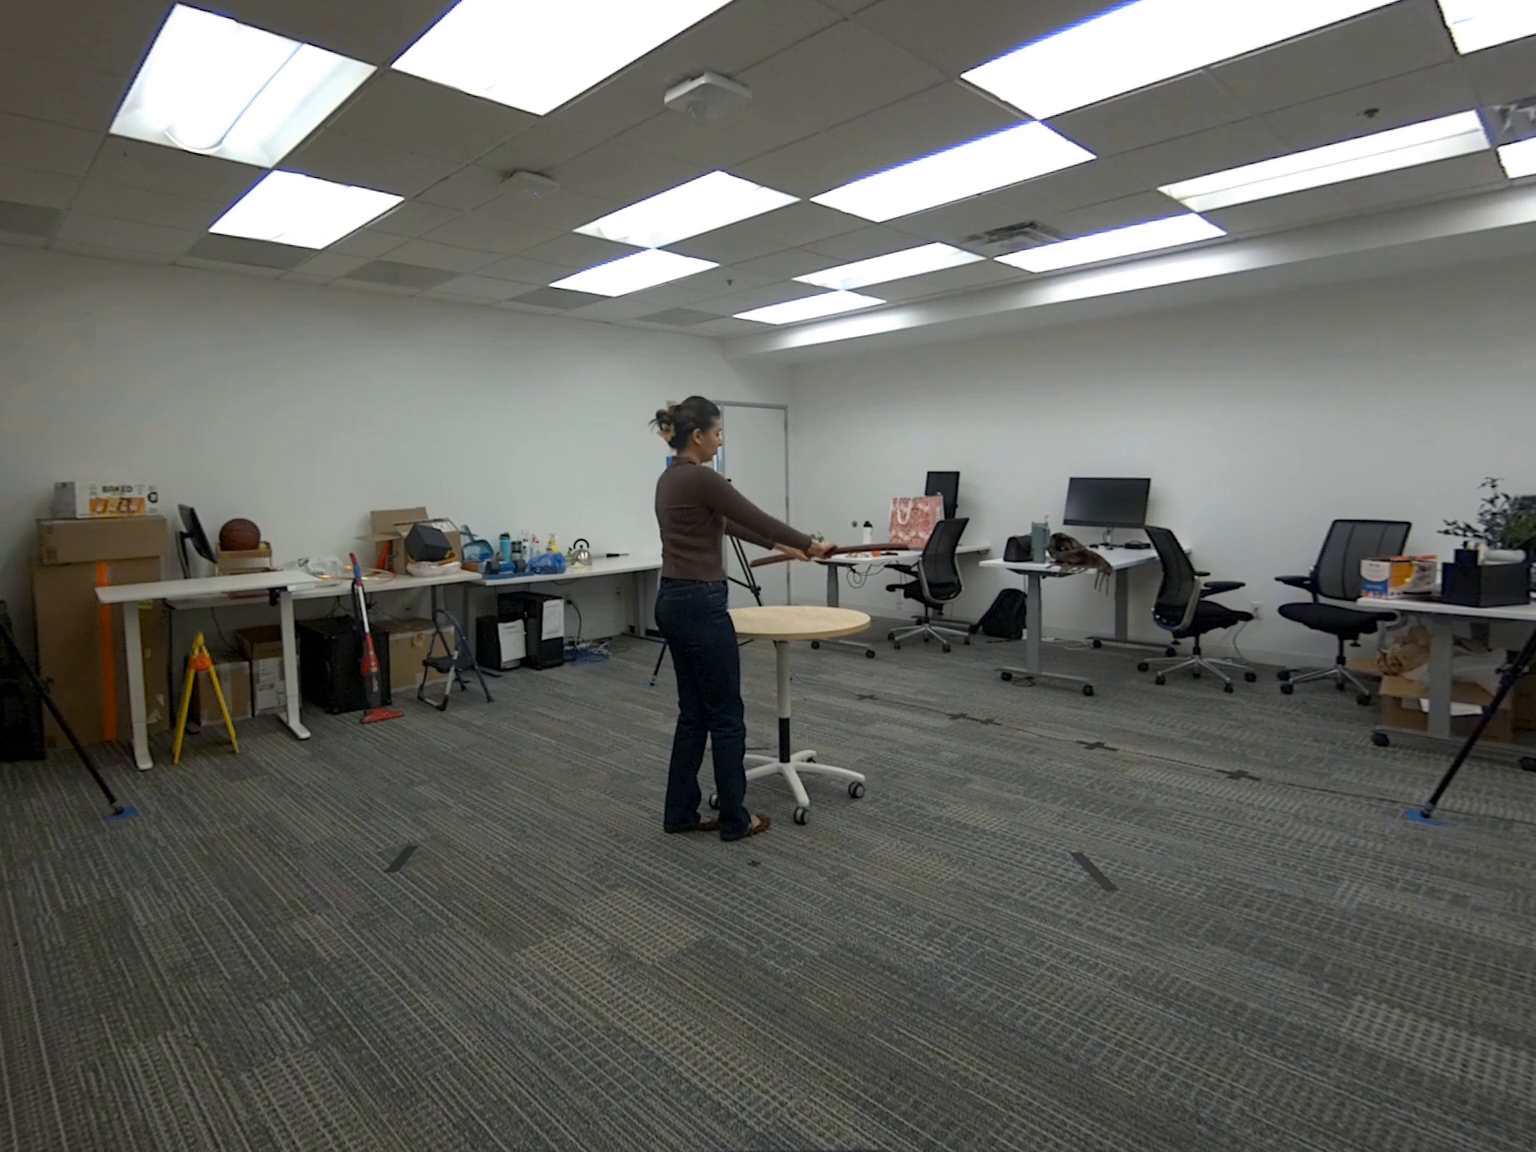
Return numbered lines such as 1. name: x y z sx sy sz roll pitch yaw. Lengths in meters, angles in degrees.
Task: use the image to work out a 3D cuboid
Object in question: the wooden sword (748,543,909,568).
1. wooden sword: 0.229 -0.081 3.469 0.051 0.024 1.048 -30 14 -29
